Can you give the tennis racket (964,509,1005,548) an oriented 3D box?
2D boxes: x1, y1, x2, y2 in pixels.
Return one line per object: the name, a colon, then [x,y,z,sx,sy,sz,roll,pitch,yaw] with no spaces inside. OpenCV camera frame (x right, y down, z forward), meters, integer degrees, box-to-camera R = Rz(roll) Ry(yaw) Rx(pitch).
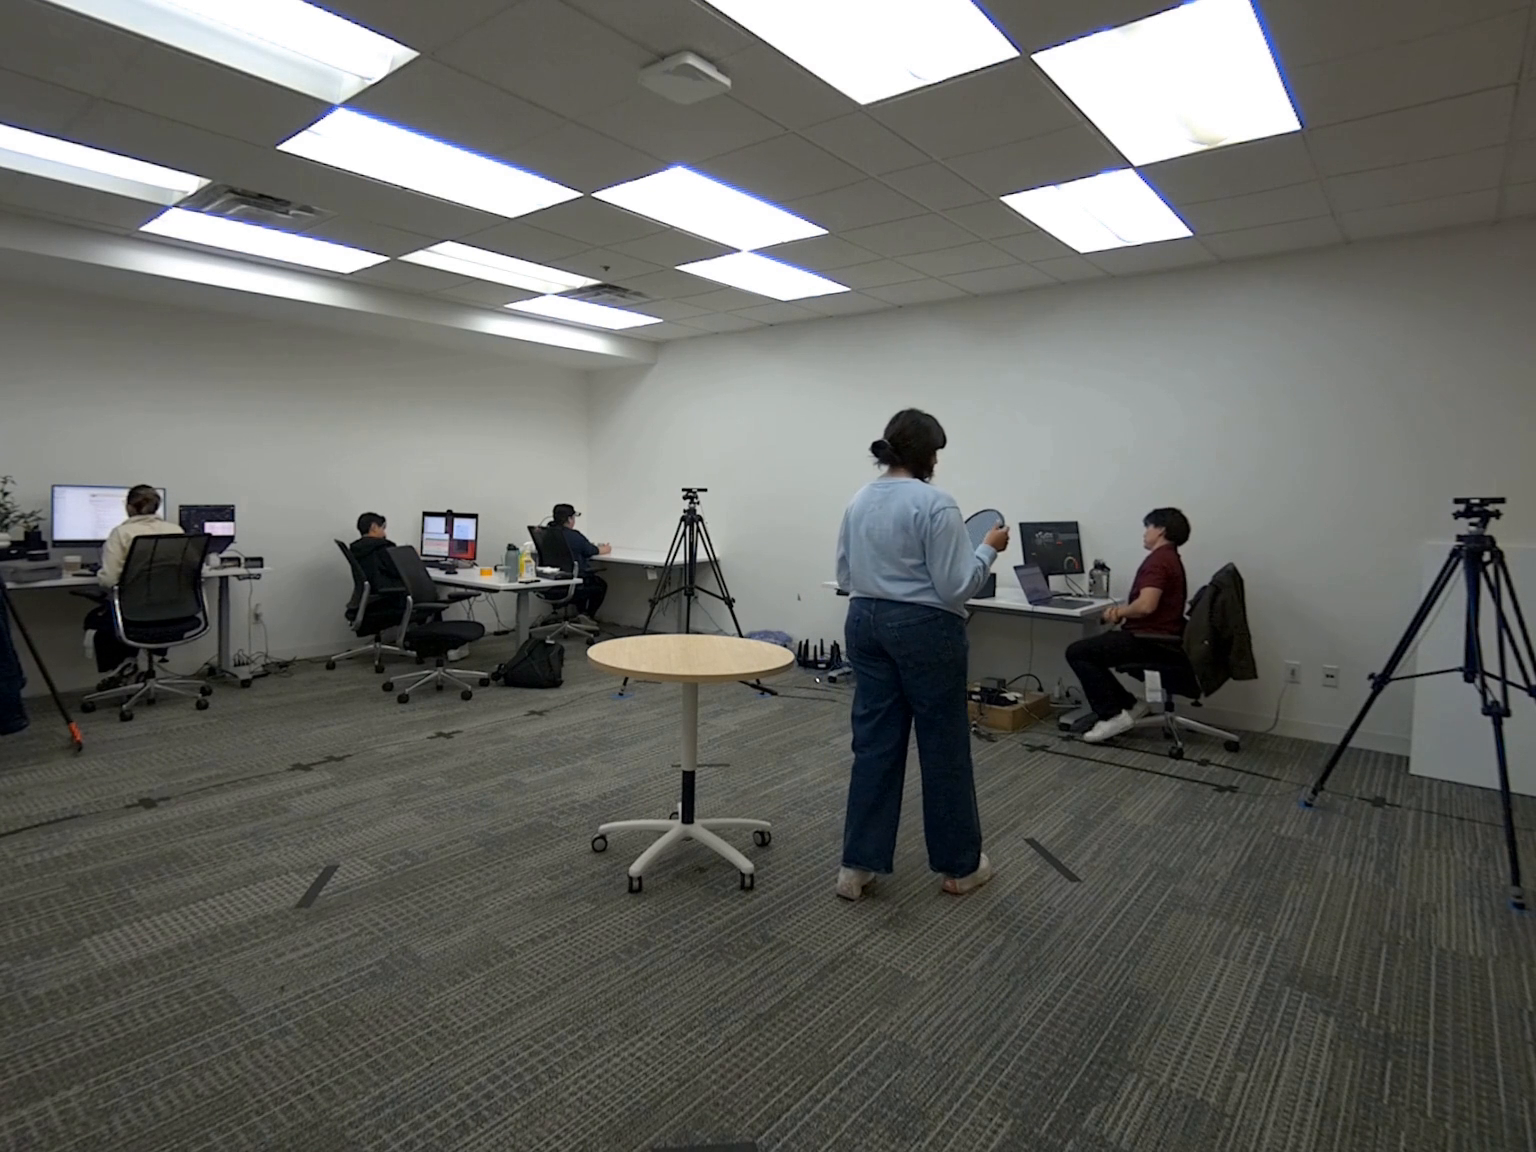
tennis racket: [0.665,-0.080,3.094,0.031,0.432,0.219,32,29,-19]
